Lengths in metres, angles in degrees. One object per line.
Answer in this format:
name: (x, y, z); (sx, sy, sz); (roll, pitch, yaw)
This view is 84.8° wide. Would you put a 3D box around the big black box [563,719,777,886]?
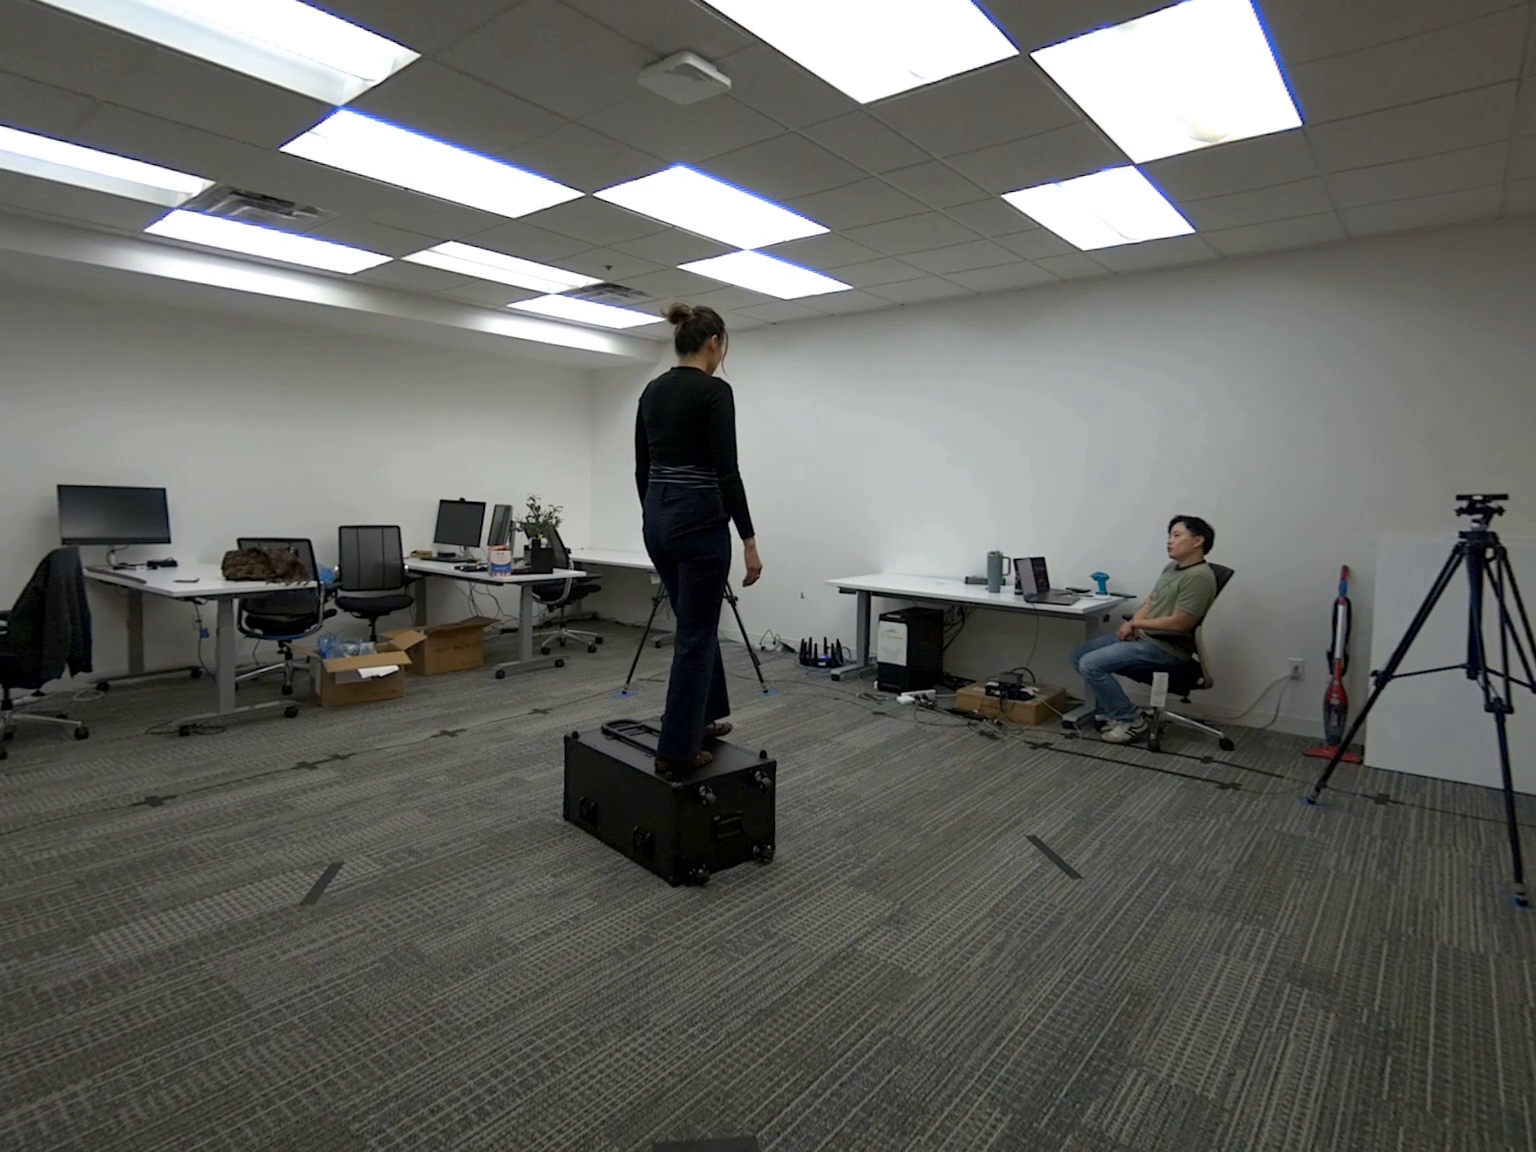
big black box: (-0.441, 0.859, 3.412); (0.506, 0.395, 0.891); (-3, 7, -41)
